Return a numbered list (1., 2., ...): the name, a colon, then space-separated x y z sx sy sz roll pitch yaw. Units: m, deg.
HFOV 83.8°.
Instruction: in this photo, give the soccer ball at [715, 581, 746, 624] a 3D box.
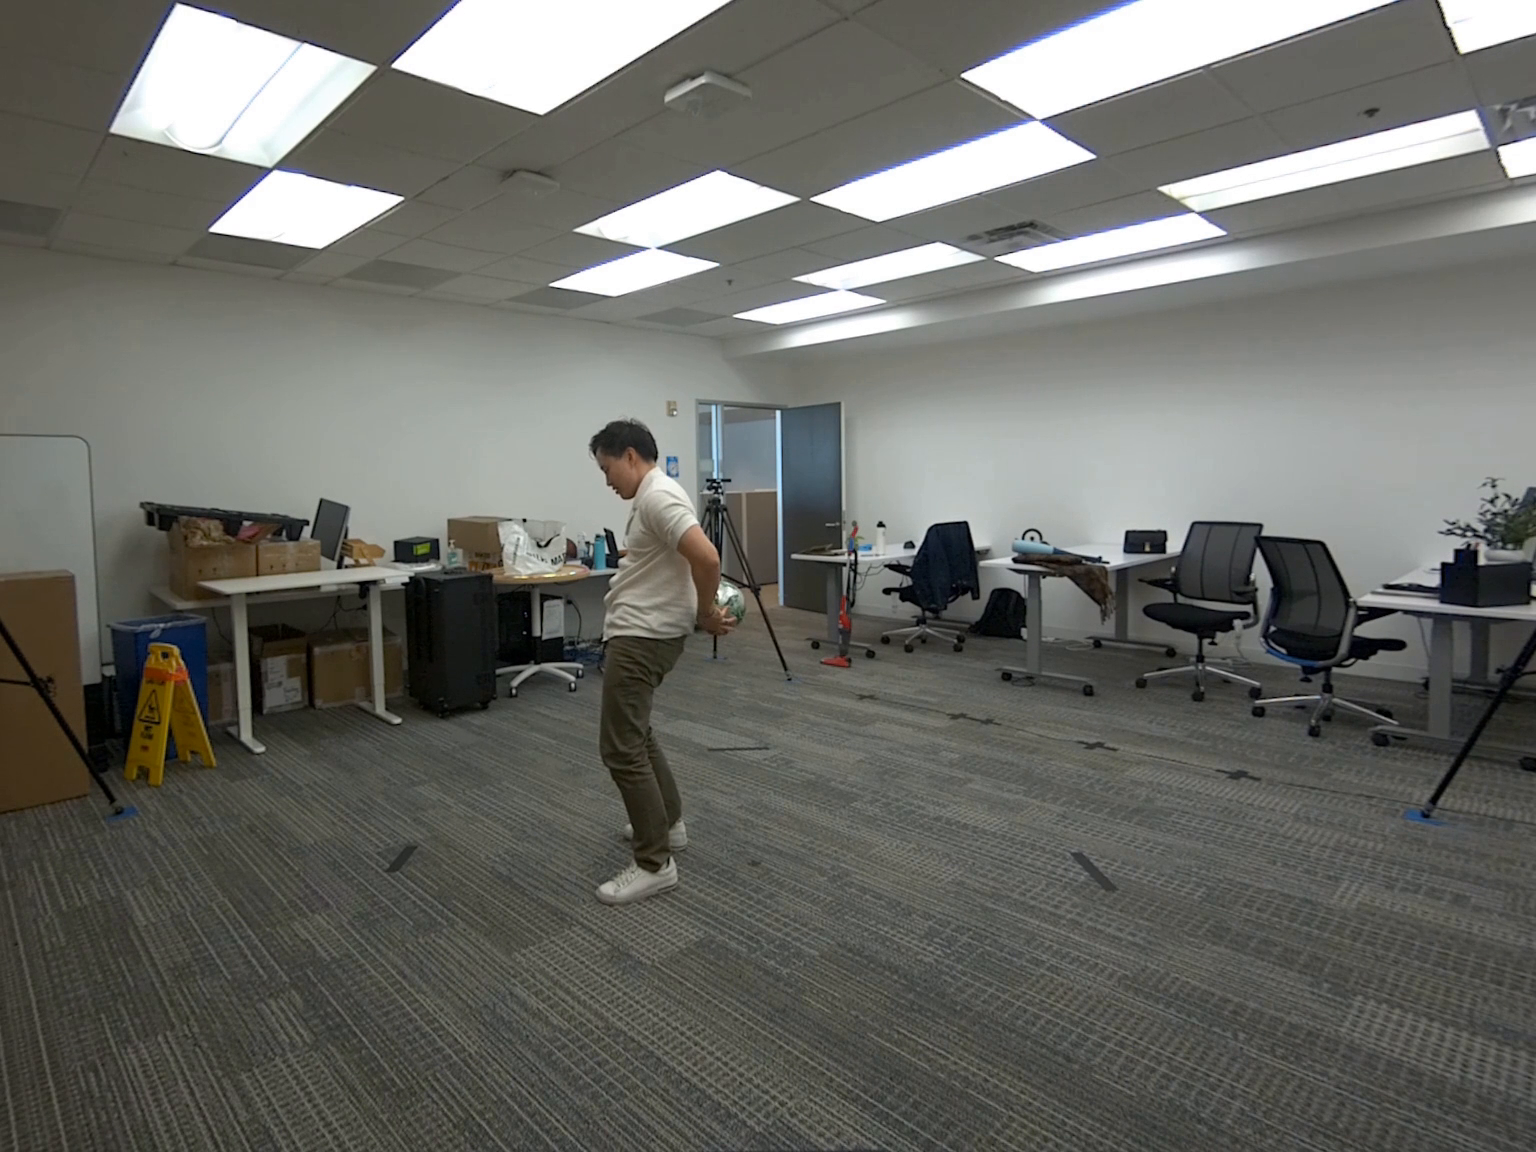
1. soccer ball: -0.173 0.113 3.145 0.187 0.187 0.188 -1 5 -2
